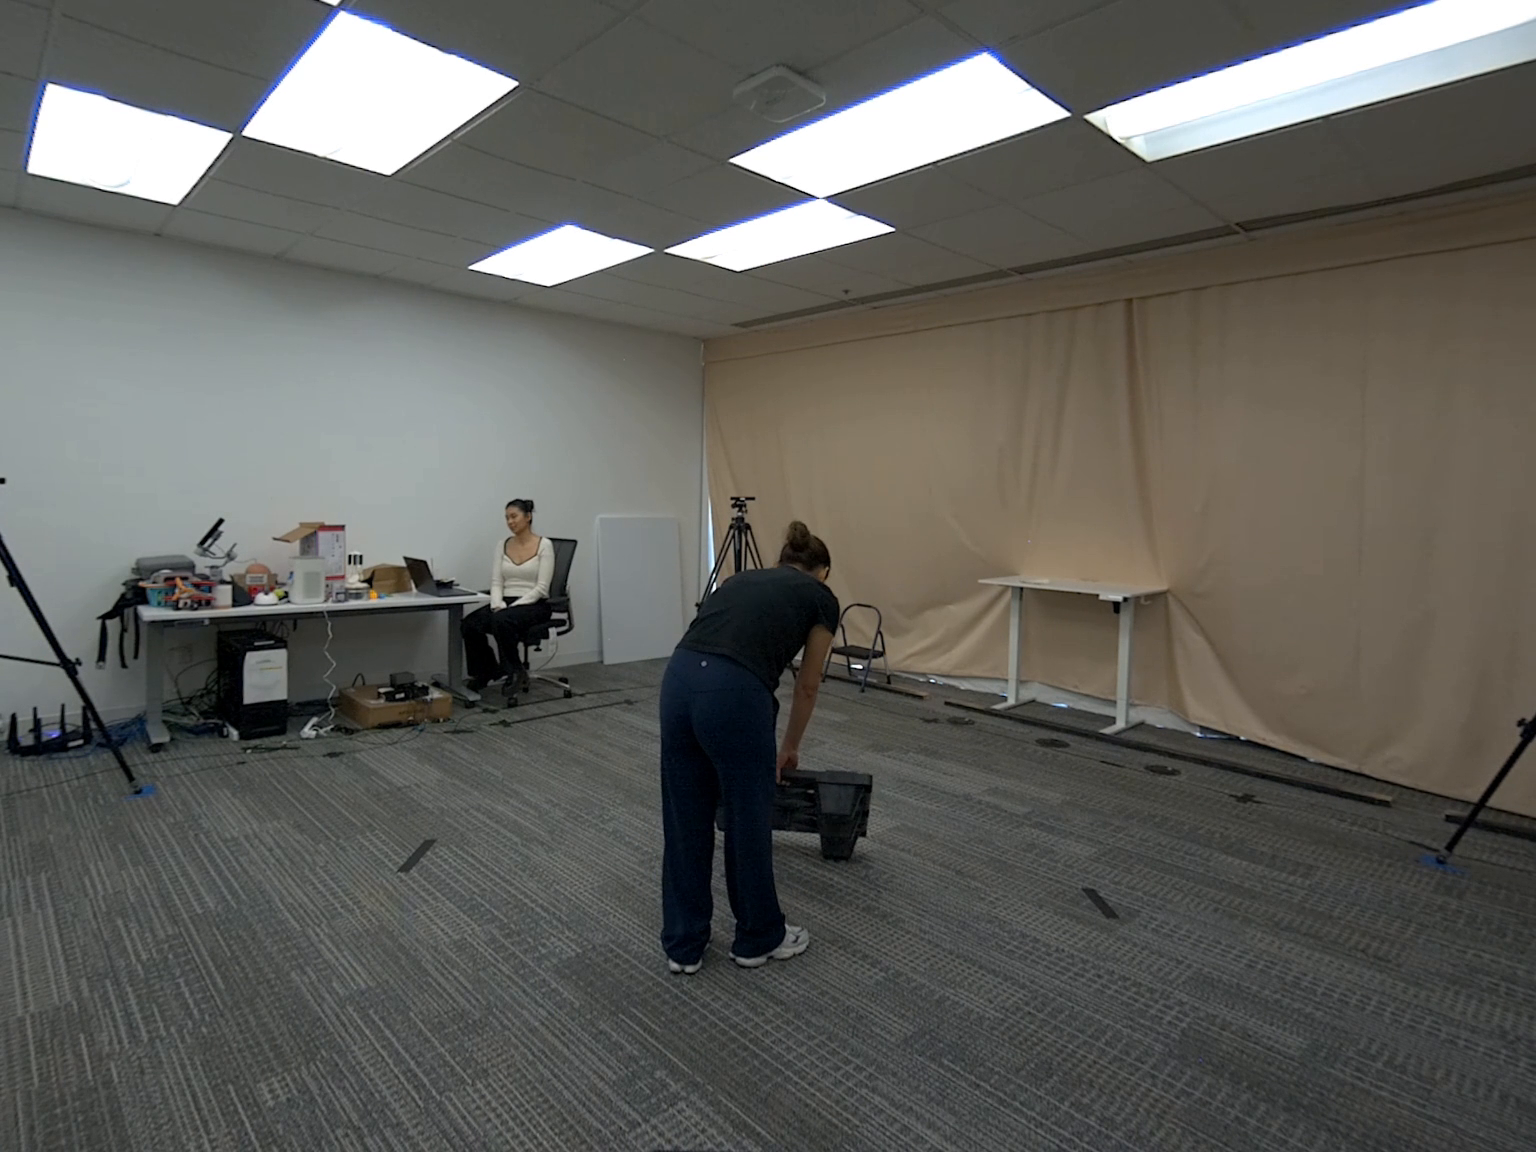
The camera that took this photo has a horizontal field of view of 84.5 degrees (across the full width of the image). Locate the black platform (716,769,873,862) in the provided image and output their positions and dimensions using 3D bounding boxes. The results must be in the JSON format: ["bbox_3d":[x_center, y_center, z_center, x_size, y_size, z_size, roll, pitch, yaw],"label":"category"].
[{"bbox_3d":[0.060,0.859,3.005,0.609,0.146,0.787,2,-29,6],"label":"black platform"}]
